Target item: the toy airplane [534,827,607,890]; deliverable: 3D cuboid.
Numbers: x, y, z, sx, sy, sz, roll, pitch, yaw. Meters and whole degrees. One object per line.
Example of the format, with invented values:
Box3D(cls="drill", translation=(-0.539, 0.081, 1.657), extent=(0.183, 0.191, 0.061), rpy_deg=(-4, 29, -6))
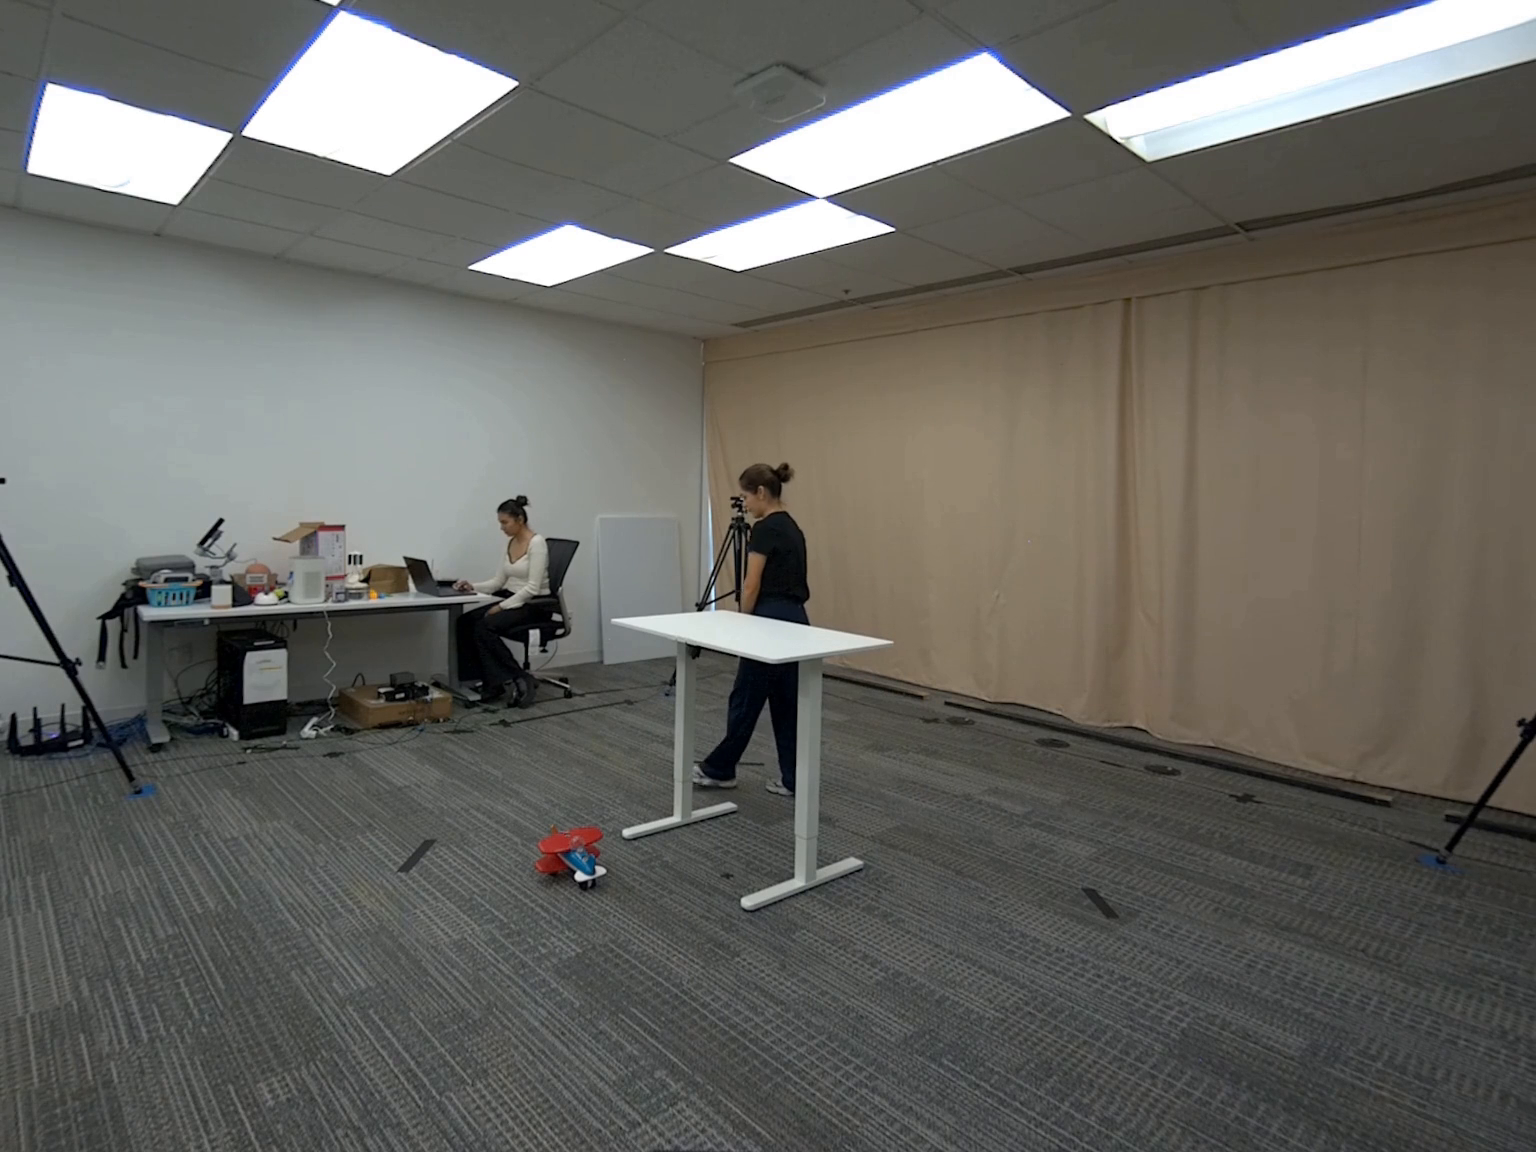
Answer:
Box3D(cls="toy airplane", translation=(-0.693, 1.024, 3.042), extent=(0.263, 0.156, 0.248), rpy_deg=(2, 4, 19))
